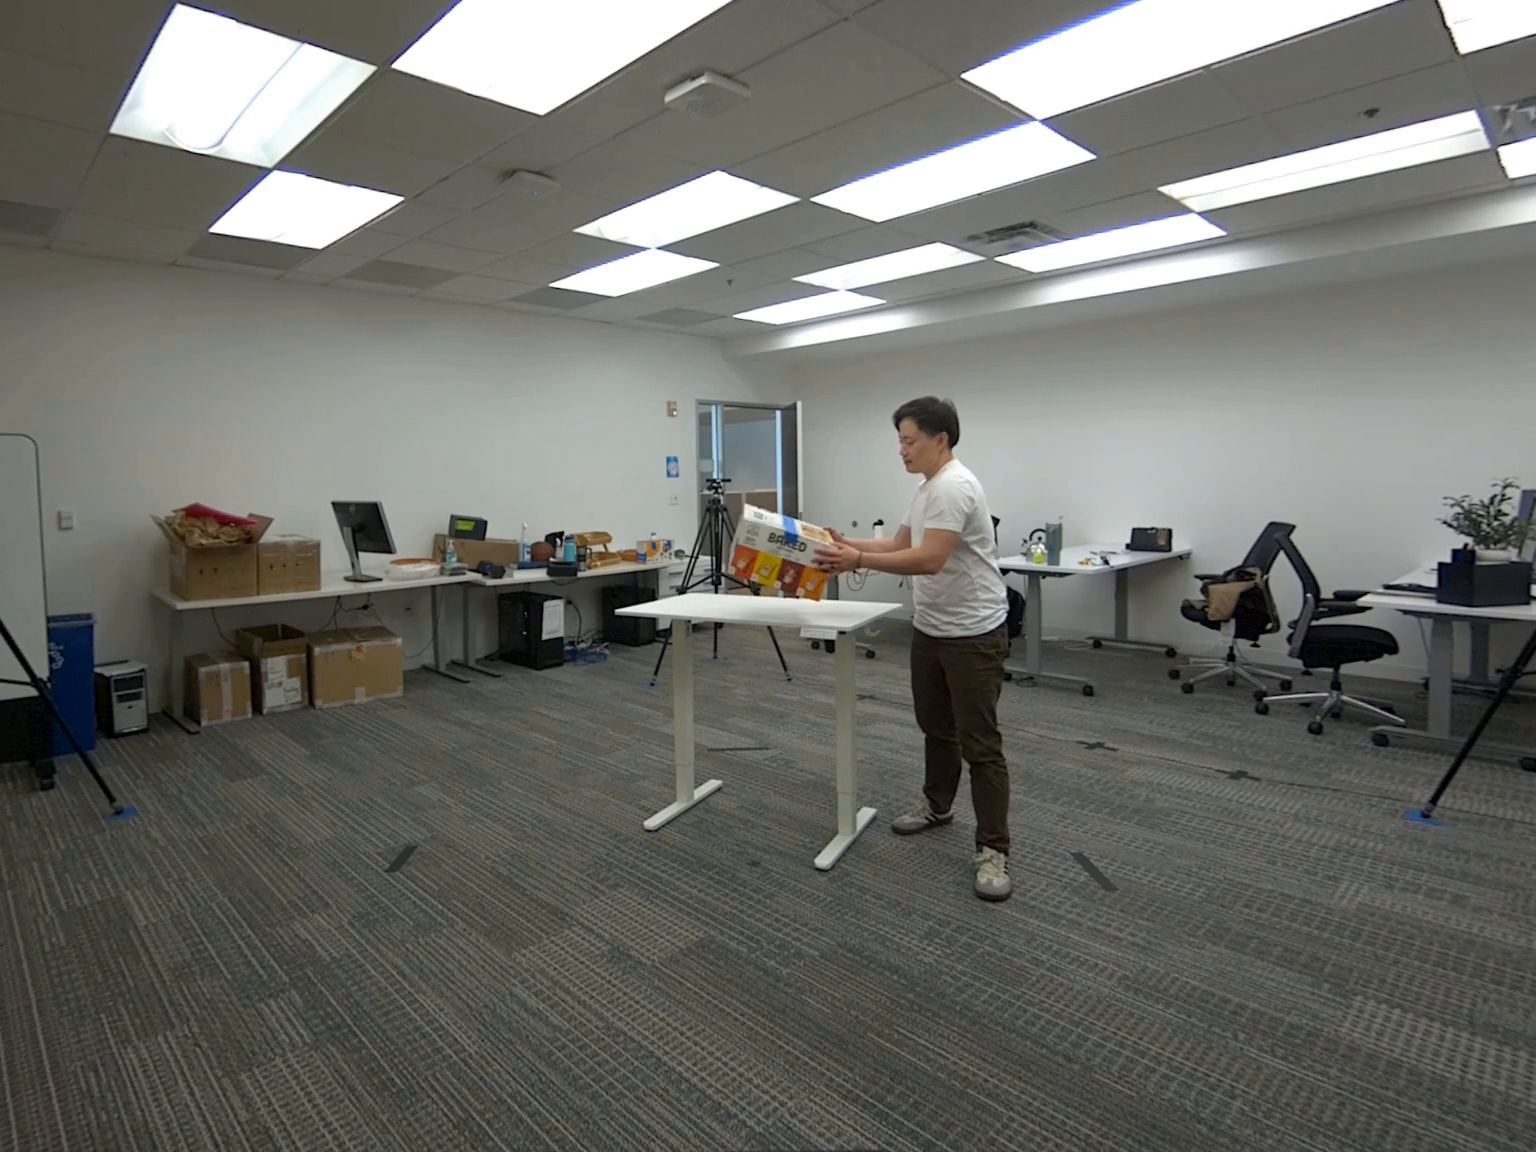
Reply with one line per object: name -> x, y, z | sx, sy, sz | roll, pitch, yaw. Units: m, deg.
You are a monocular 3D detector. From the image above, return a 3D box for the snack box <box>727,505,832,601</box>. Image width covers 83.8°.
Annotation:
snack box -> 0.056, -0.077, 3.141 | 0.340, 0.204, 0.408 | 16, 12, -2
